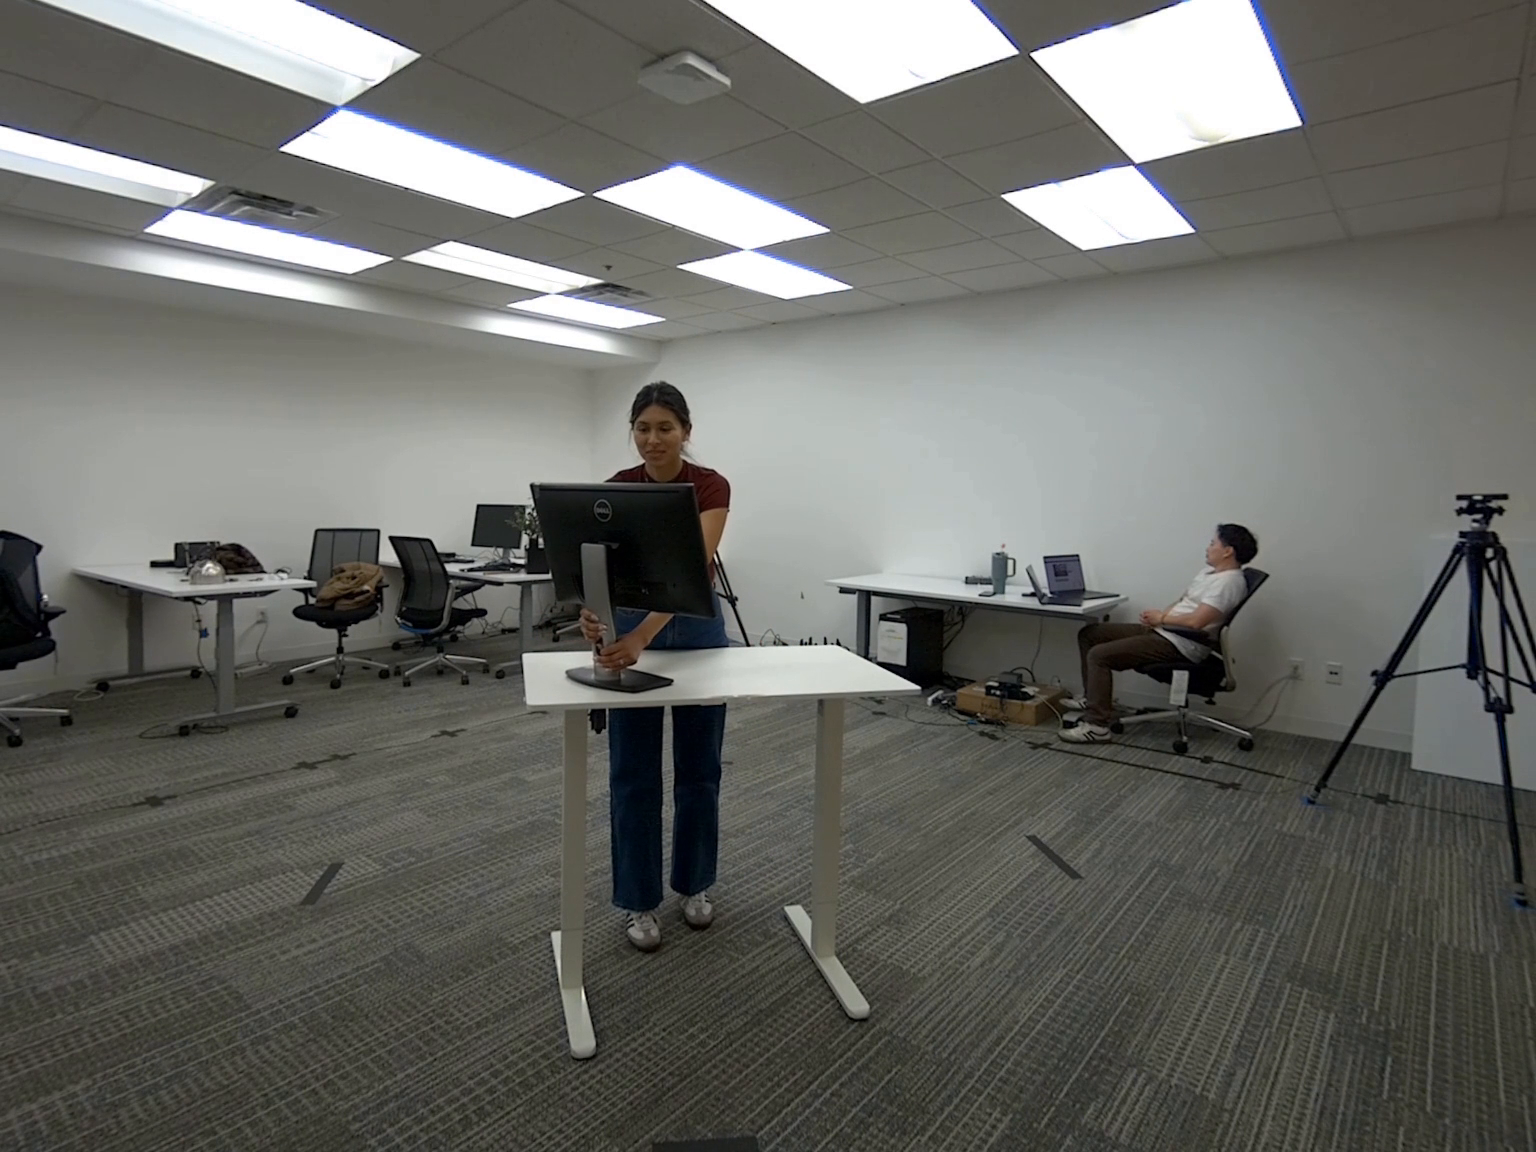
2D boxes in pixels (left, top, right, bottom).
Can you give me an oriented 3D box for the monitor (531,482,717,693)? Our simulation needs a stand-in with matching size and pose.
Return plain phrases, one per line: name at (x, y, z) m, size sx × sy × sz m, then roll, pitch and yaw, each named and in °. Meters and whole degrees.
monitor at (-0.409, 0.016, 2.203) m, size 0.555 × 0.520 × 0.183 m, roll 4°, pitch 7°, yaw 31°
